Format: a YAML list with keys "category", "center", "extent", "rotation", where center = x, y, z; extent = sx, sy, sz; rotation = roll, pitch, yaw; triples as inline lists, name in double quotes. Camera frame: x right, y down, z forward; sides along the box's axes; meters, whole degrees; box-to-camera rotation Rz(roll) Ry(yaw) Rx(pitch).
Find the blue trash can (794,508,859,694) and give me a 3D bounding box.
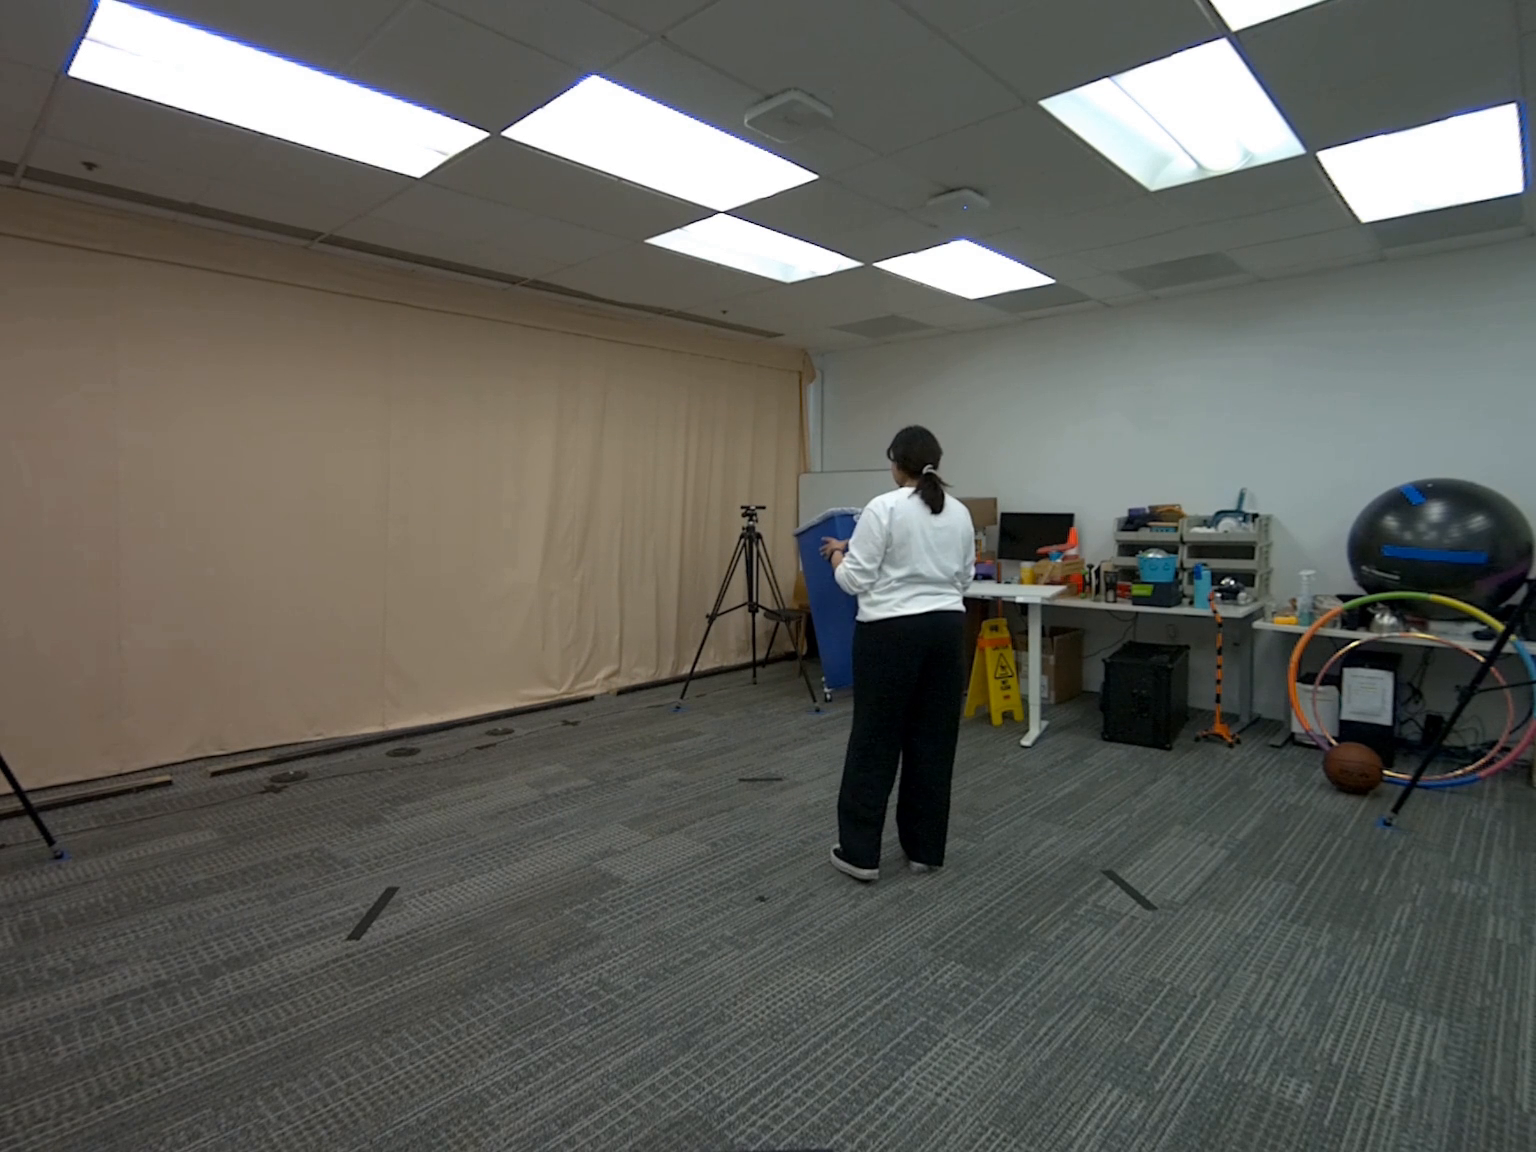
- category: "blue trash can"
  center: [0.392, 0.101, 3.622]
  extent: [0.368, 0.720, 0.380]
  rotation: [-2, -13, -28]
